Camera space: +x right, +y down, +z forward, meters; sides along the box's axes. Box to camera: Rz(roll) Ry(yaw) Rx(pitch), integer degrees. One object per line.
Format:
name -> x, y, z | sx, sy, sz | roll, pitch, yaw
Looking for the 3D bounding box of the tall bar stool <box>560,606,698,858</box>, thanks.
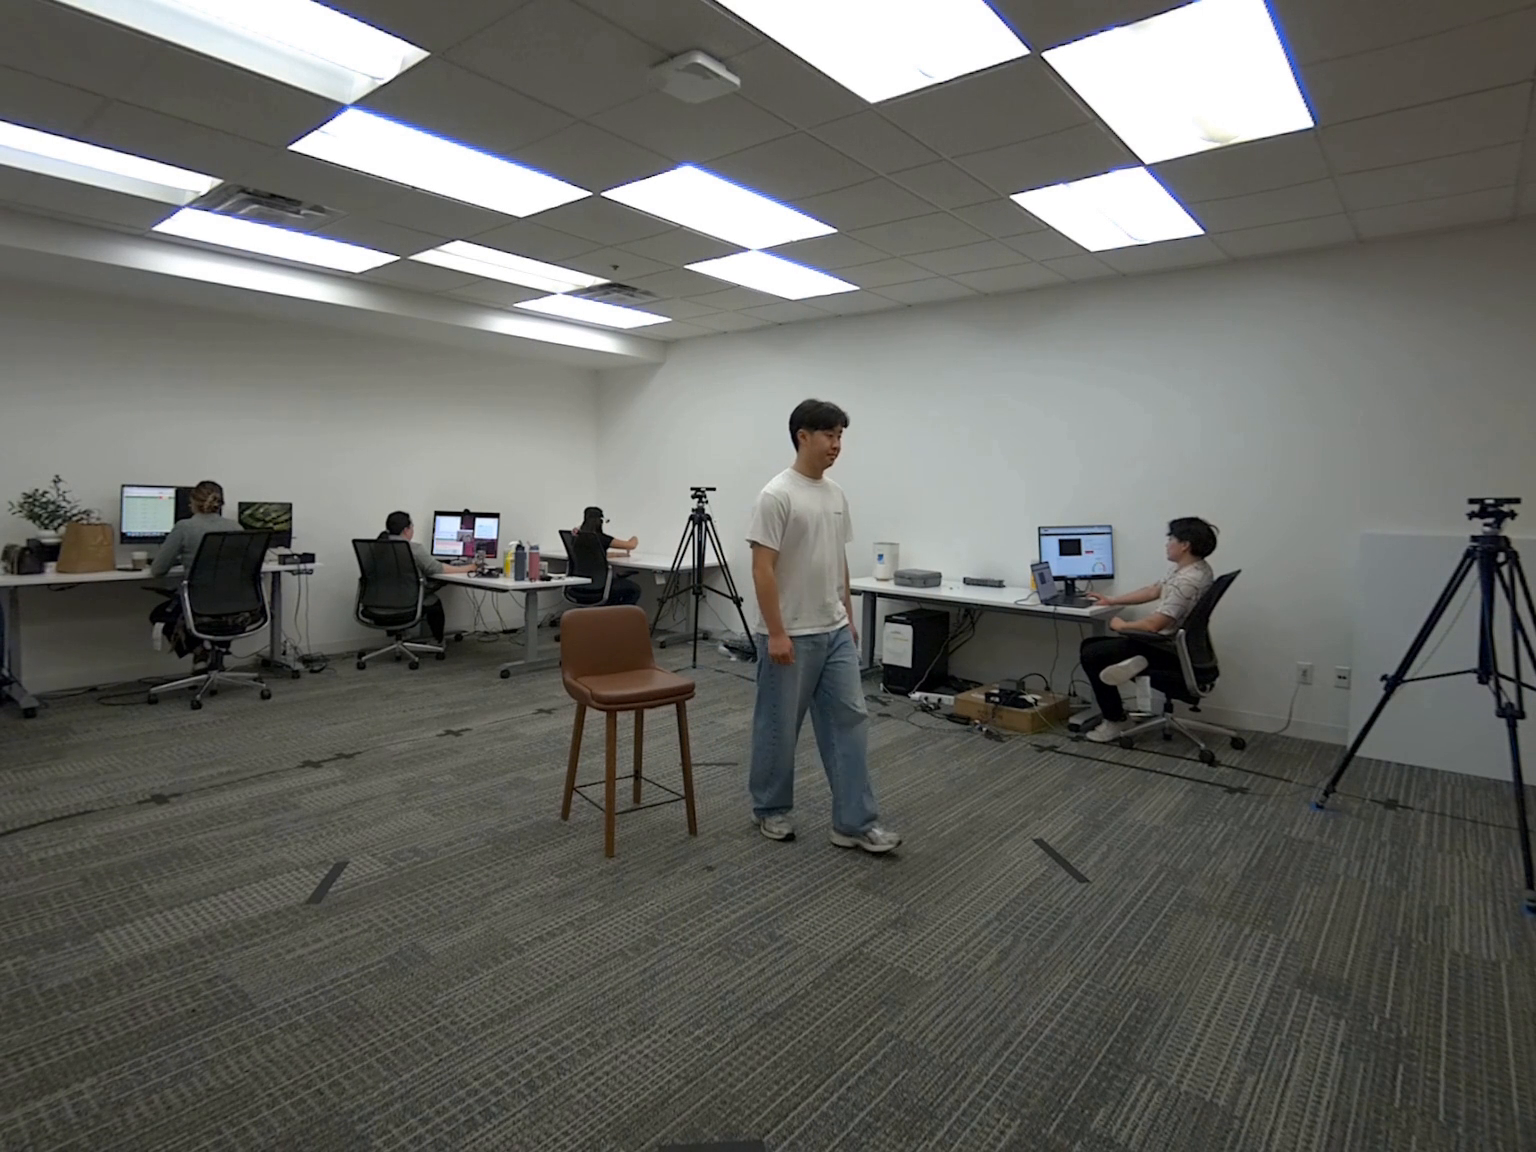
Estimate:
tall bar stool -> -0.590, 0.588, 3.465 | 0.443, 0.888, 0.482 | -1, 2, -38
